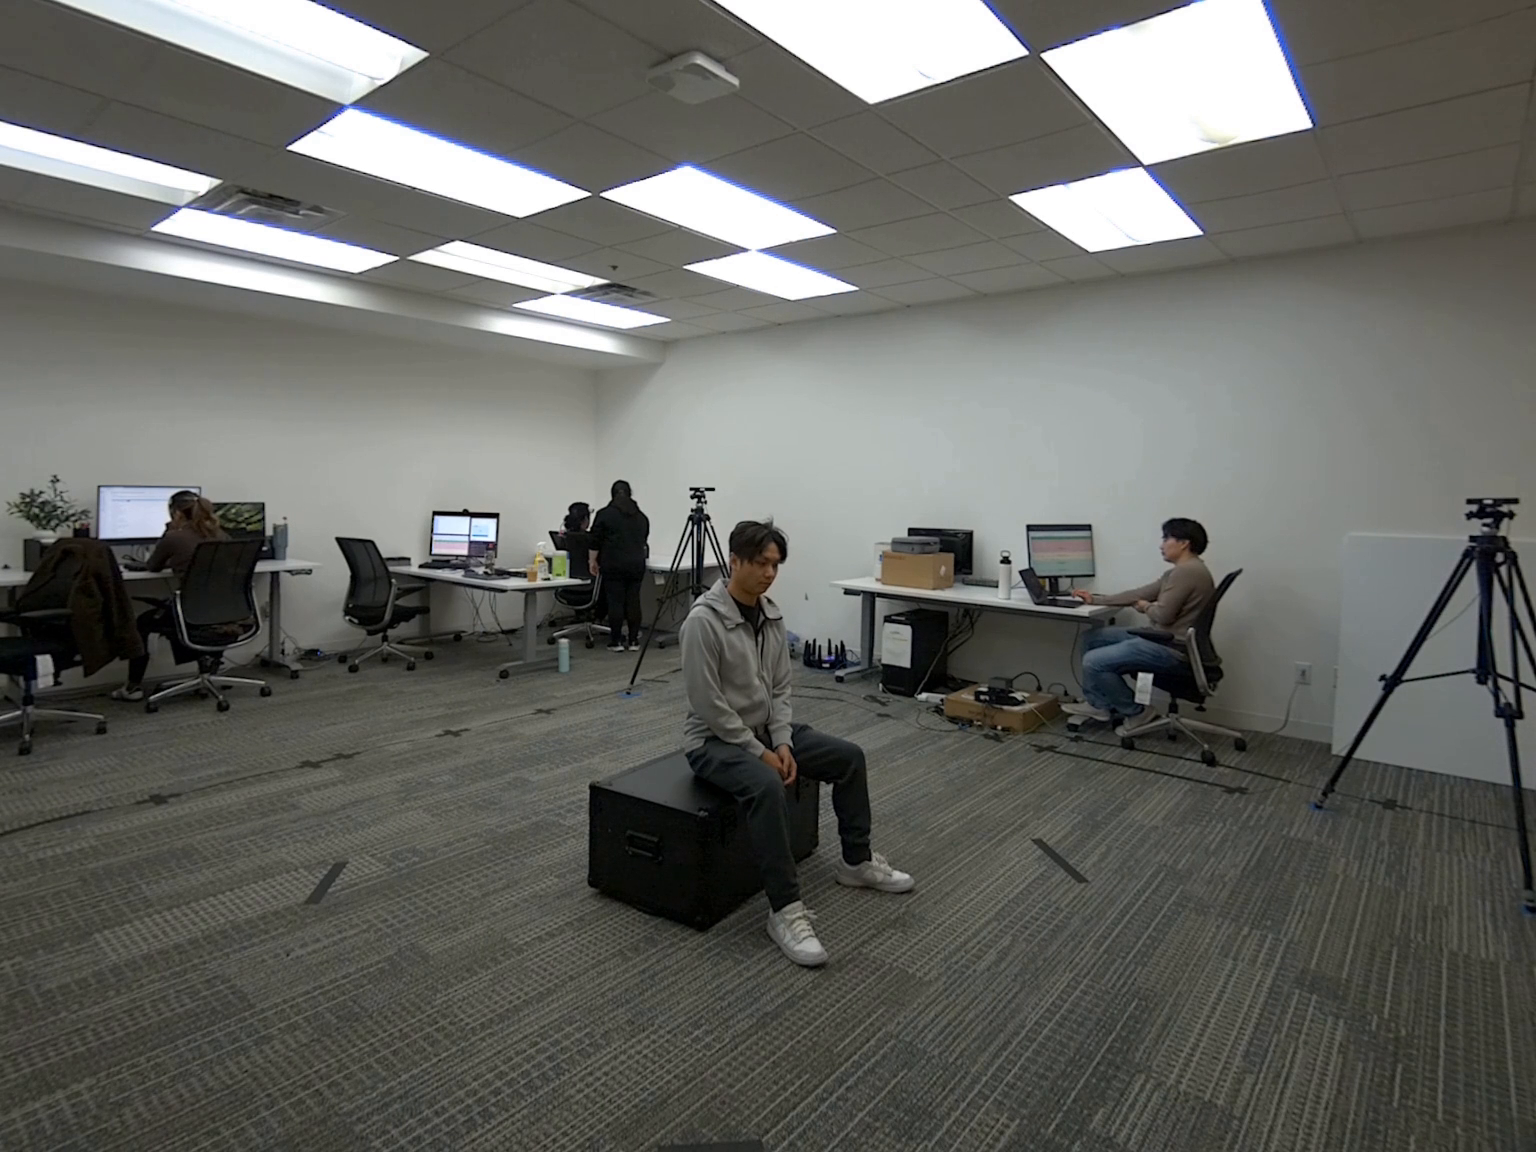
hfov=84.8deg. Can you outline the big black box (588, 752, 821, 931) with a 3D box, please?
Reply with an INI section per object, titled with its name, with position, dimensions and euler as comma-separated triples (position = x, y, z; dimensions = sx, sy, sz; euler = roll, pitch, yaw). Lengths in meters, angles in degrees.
[big black box]
position = -0.241, 0.887, 3.060
dimensions = 0.537, 0.395, 0.838
euler = 4, 6, 32
